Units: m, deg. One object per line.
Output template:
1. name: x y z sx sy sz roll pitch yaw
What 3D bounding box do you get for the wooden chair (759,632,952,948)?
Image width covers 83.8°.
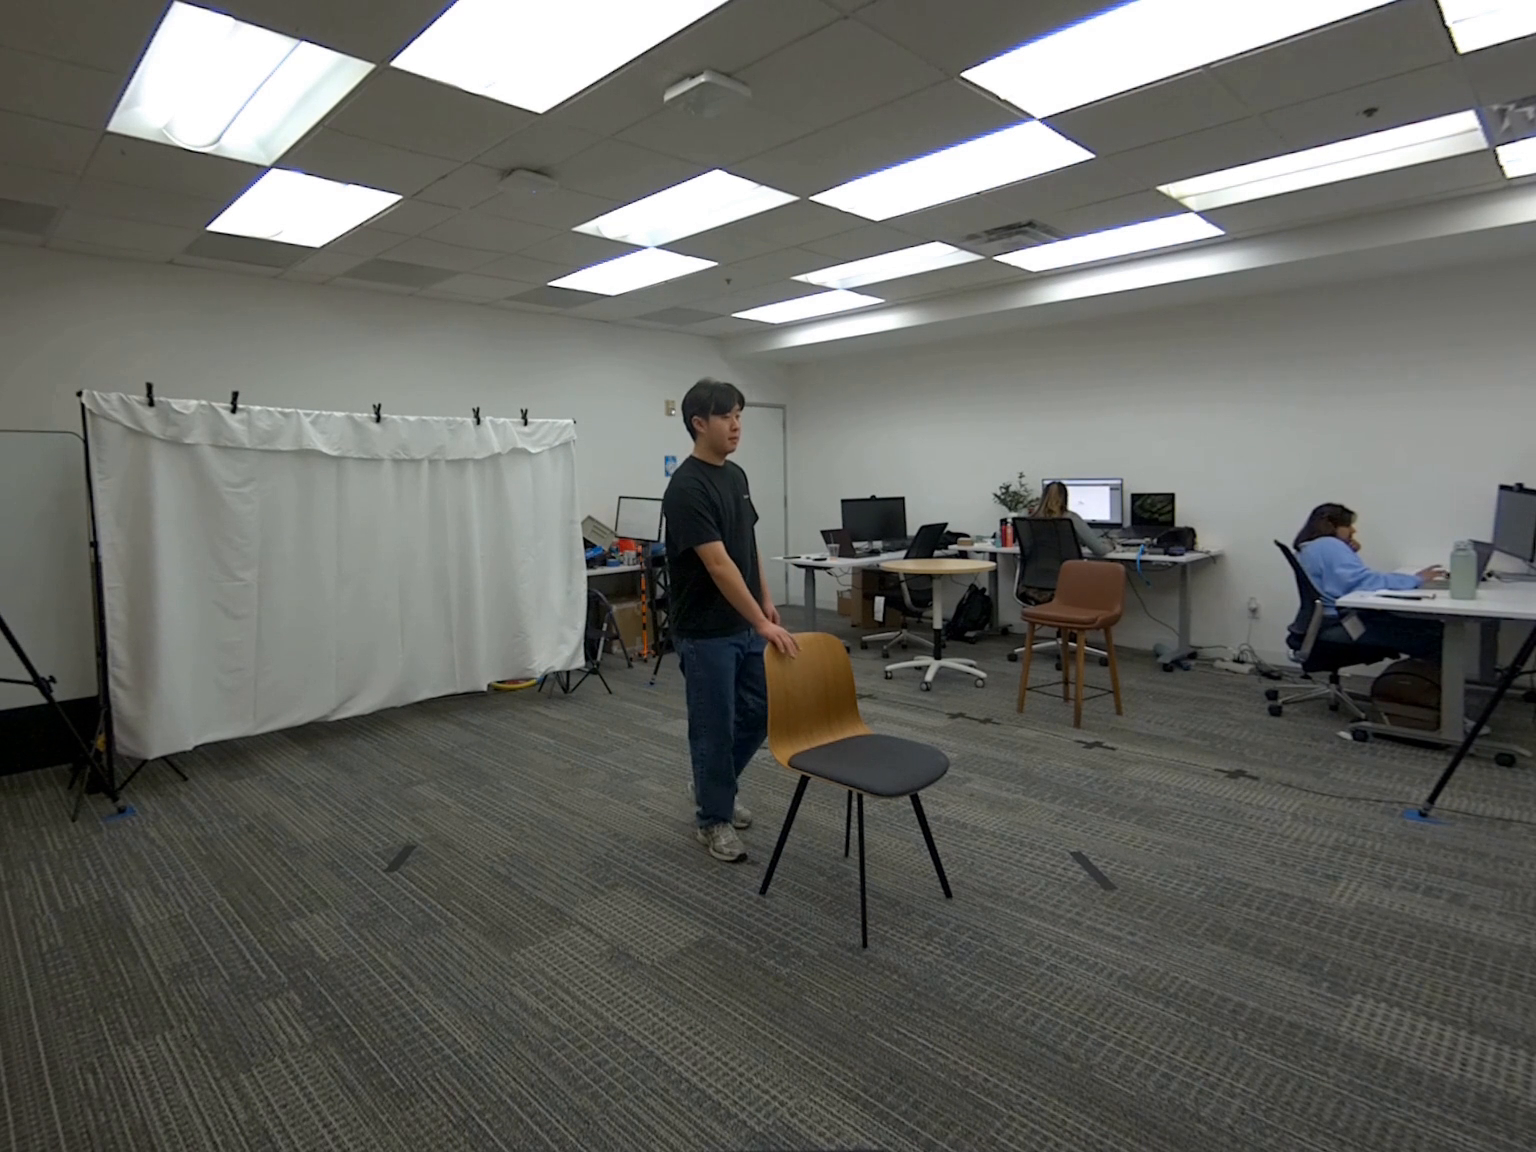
1. wooden chair: 0.292 0.642 2.805 0.465 0.877 0.538 -5 1 -42
